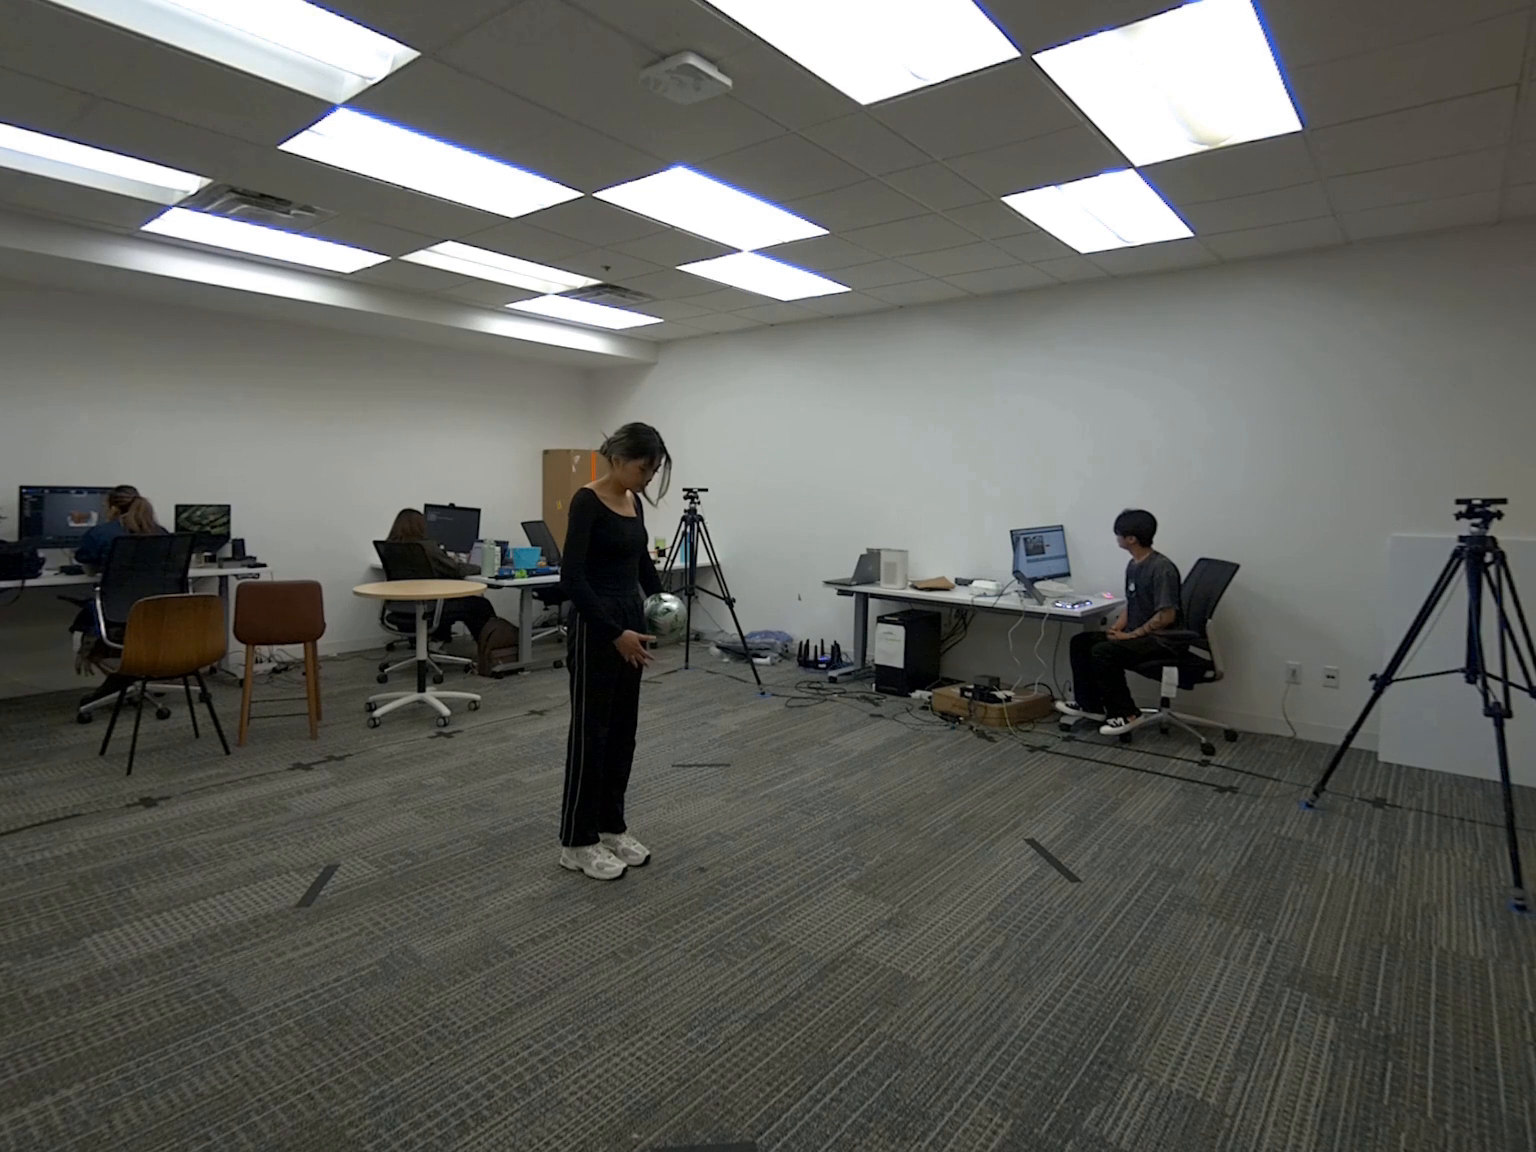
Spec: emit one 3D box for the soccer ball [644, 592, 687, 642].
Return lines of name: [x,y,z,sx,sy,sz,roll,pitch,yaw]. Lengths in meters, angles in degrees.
soccer ball: [-0.428,0.155,3.304,0.187,0.187,0.188,1,4,-2]
